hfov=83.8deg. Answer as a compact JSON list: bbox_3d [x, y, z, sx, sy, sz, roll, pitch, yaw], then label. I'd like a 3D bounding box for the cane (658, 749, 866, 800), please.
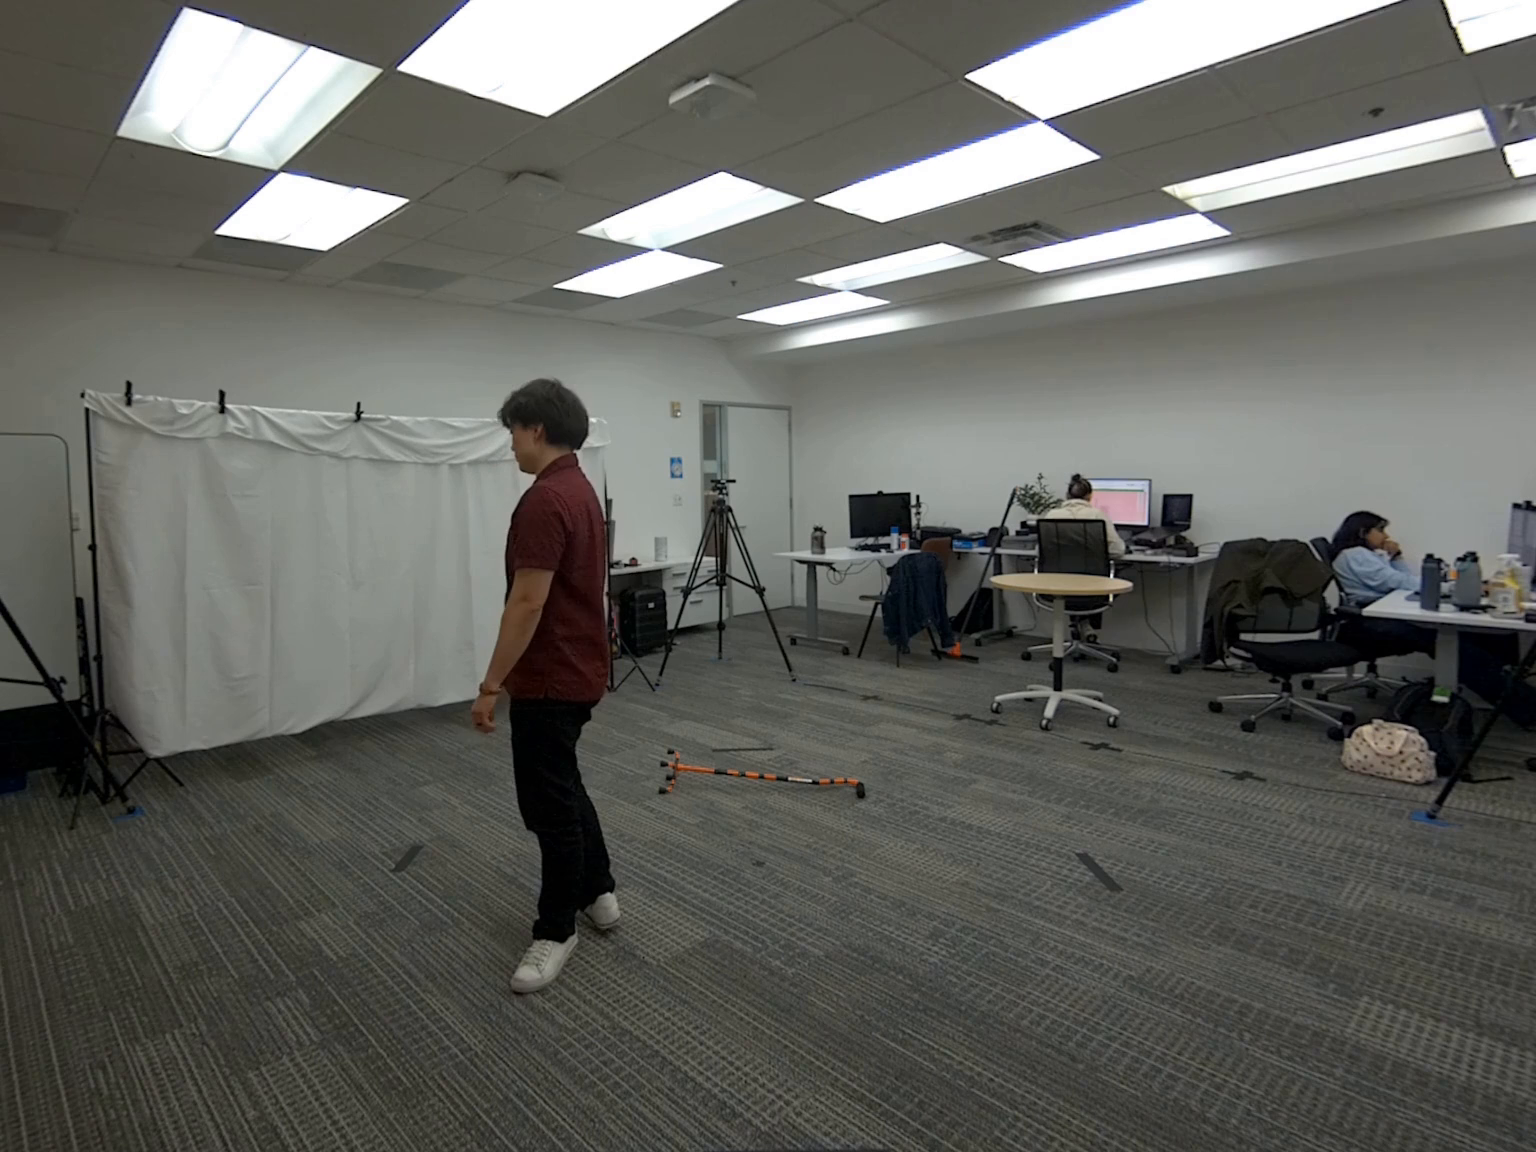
[{"bbox_3d":[-0.025,0.916,3.865,0.914,0.151,0.206,4,6,7],"label":"cane"}]
